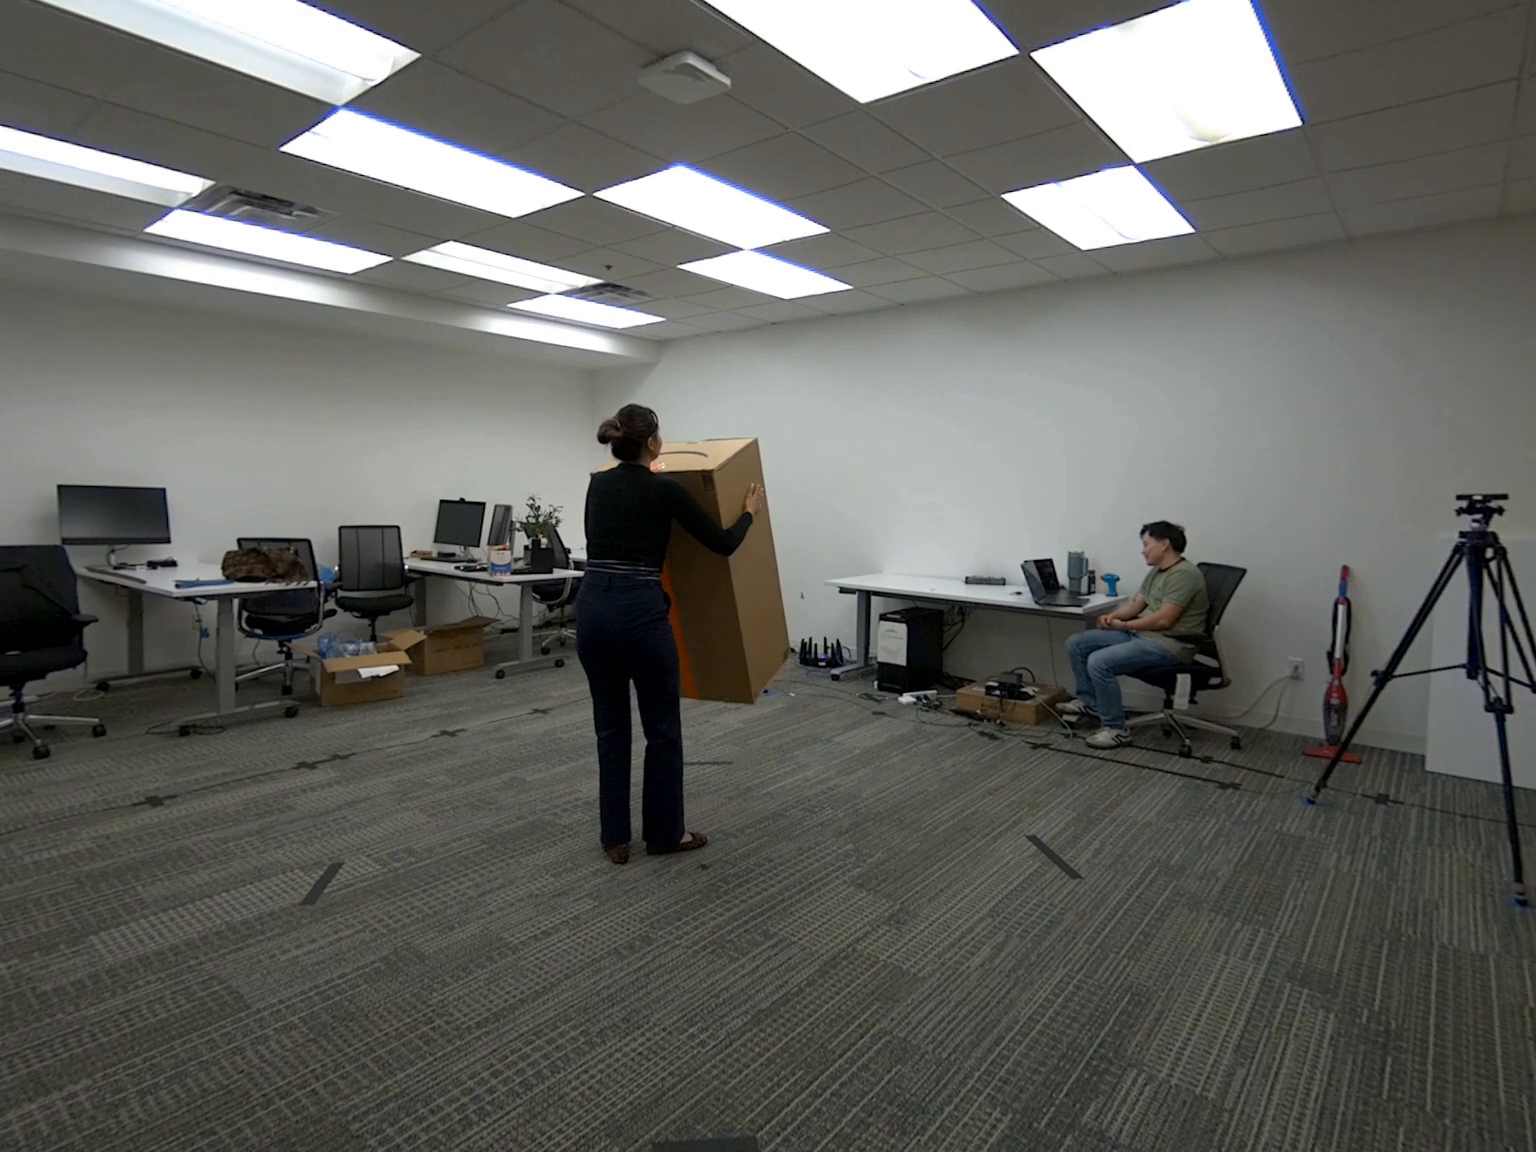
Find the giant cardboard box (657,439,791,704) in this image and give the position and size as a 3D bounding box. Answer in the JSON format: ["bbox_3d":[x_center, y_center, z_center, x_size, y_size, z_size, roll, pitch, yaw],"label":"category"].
[{"bbox_3d":[-0.313,-0.029,3.642,0.593,1.004,0.424,1,22,28],"label":"giant cardboard box"}]
